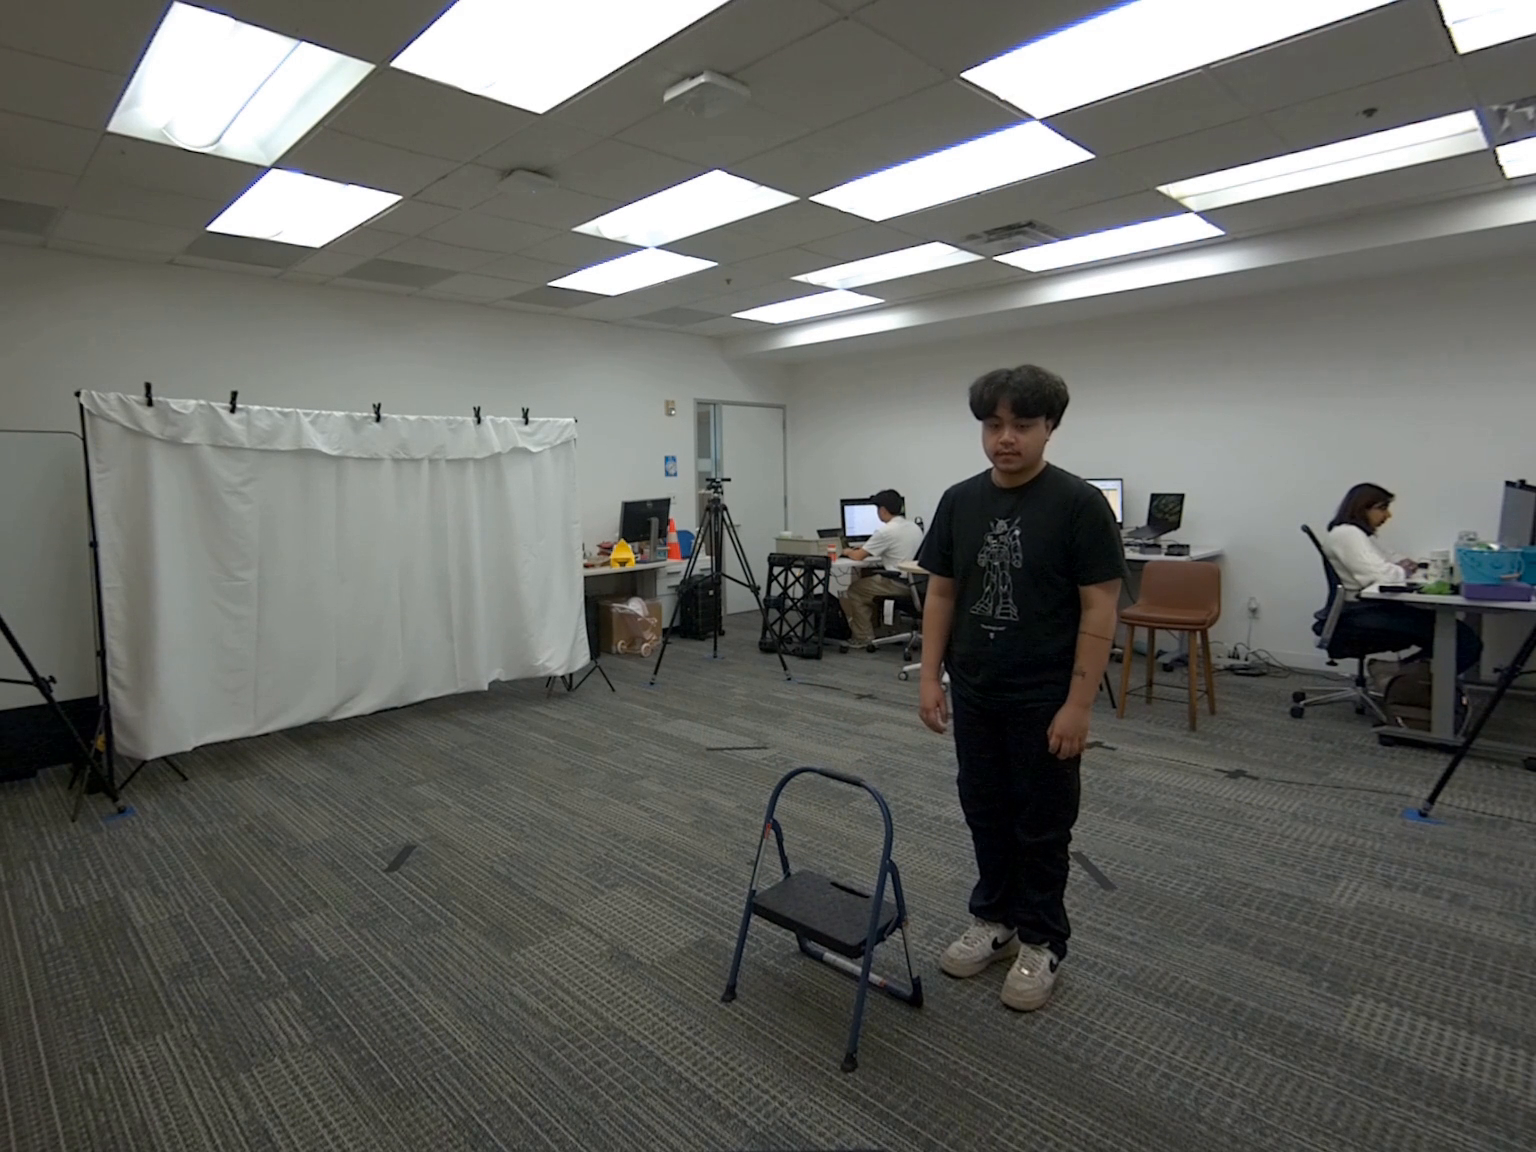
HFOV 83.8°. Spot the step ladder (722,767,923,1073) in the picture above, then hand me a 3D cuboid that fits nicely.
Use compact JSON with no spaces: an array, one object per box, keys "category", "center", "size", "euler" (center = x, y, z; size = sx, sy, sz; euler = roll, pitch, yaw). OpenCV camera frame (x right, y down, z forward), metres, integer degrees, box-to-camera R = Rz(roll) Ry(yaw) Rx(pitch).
[{"category":"step ladder","center":[0.146,0.840,2.249],"size":[0.444,0.603,0.340],"euler":[4,7,42]}]
